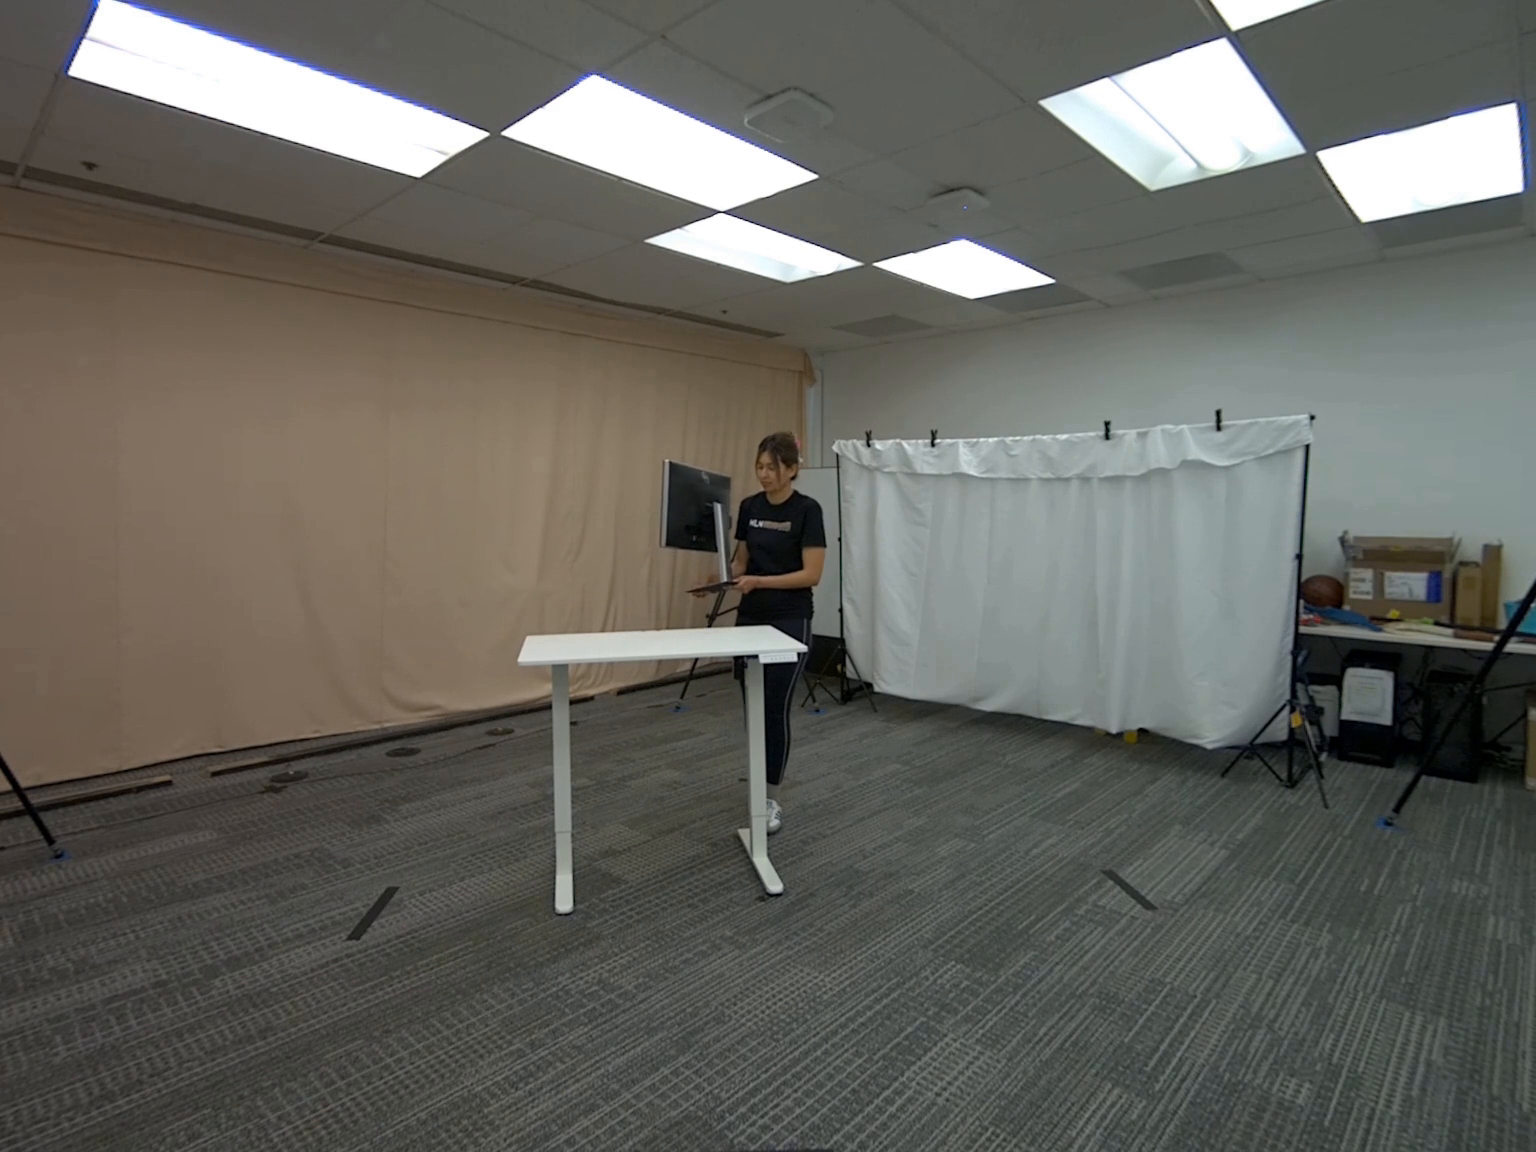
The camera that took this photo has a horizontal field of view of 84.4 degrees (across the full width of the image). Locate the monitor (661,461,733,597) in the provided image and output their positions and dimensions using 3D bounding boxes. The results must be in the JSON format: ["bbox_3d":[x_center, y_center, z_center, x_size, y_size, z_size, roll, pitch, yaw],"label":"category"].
[{"bbox_3d":[-0.265,-0.208,3.689,0.191,0.526,0.525,-12,-7,24],"label":"monitor"}]
